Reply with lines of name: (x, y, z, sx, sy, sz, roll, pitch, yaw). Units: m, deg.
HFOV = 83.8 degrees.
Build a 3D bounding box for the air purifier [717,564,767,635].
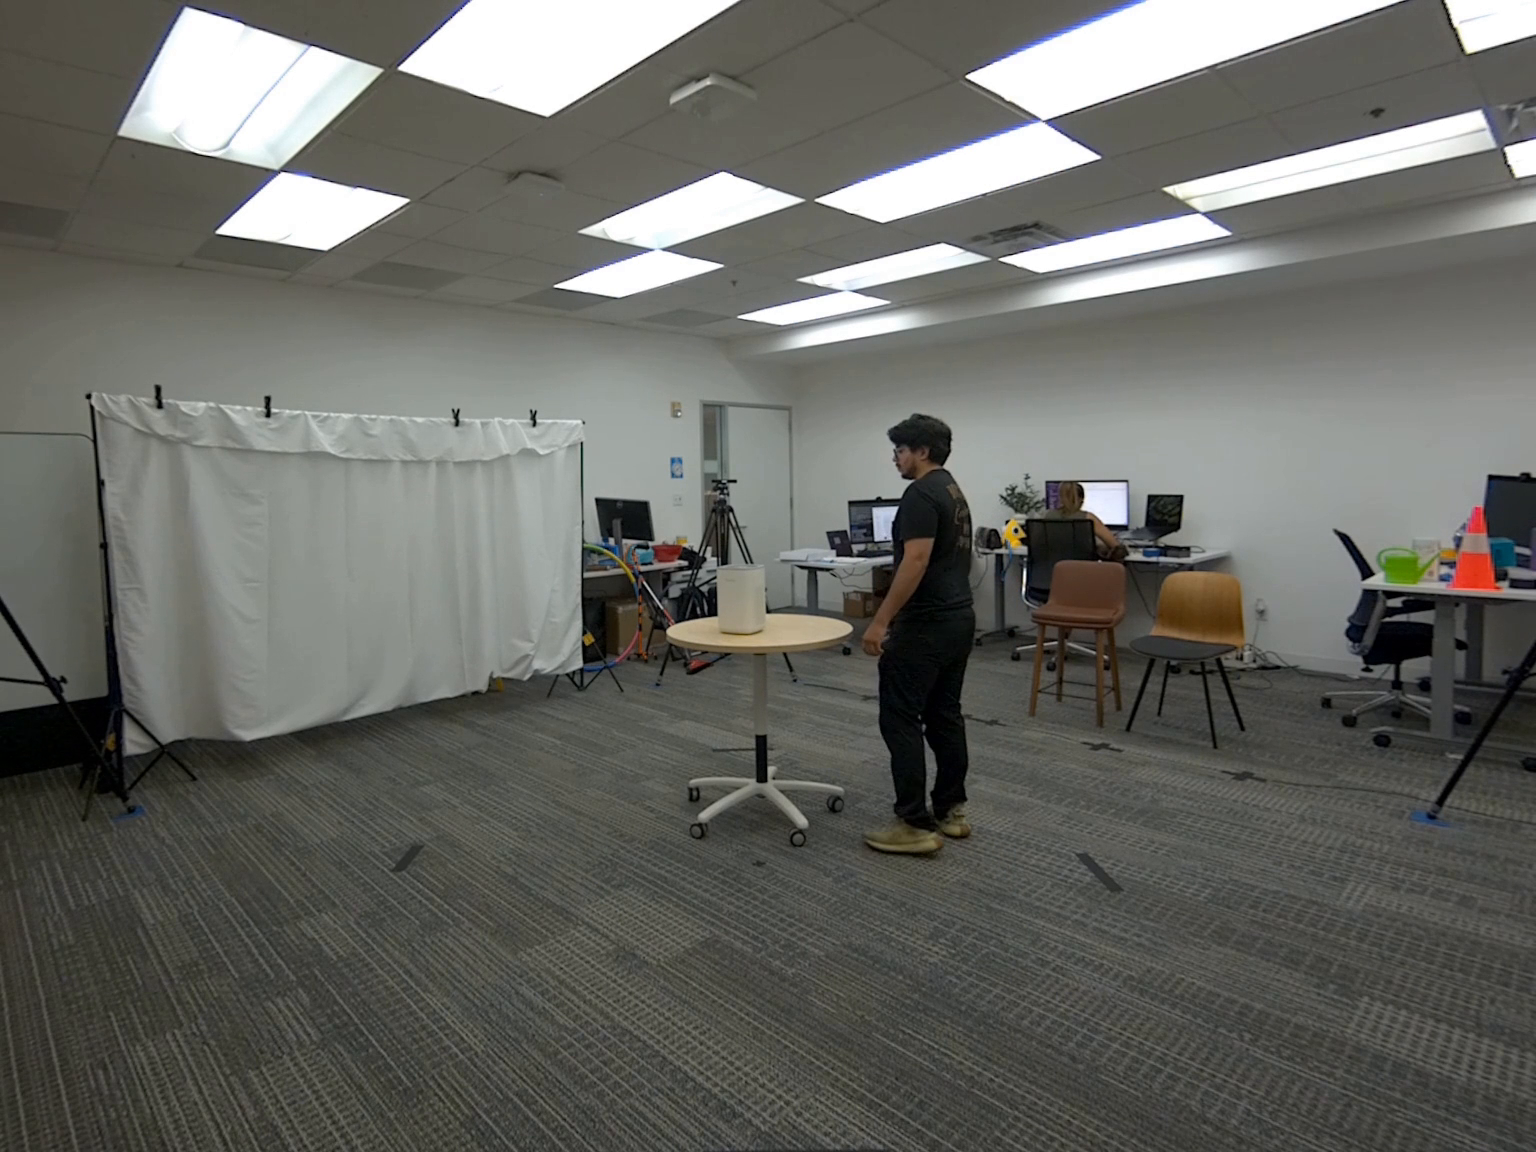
air purifier: (-0.106, 0.089, 3.461, 0.175, 0.264, 0.169, 0, 6, 24)
